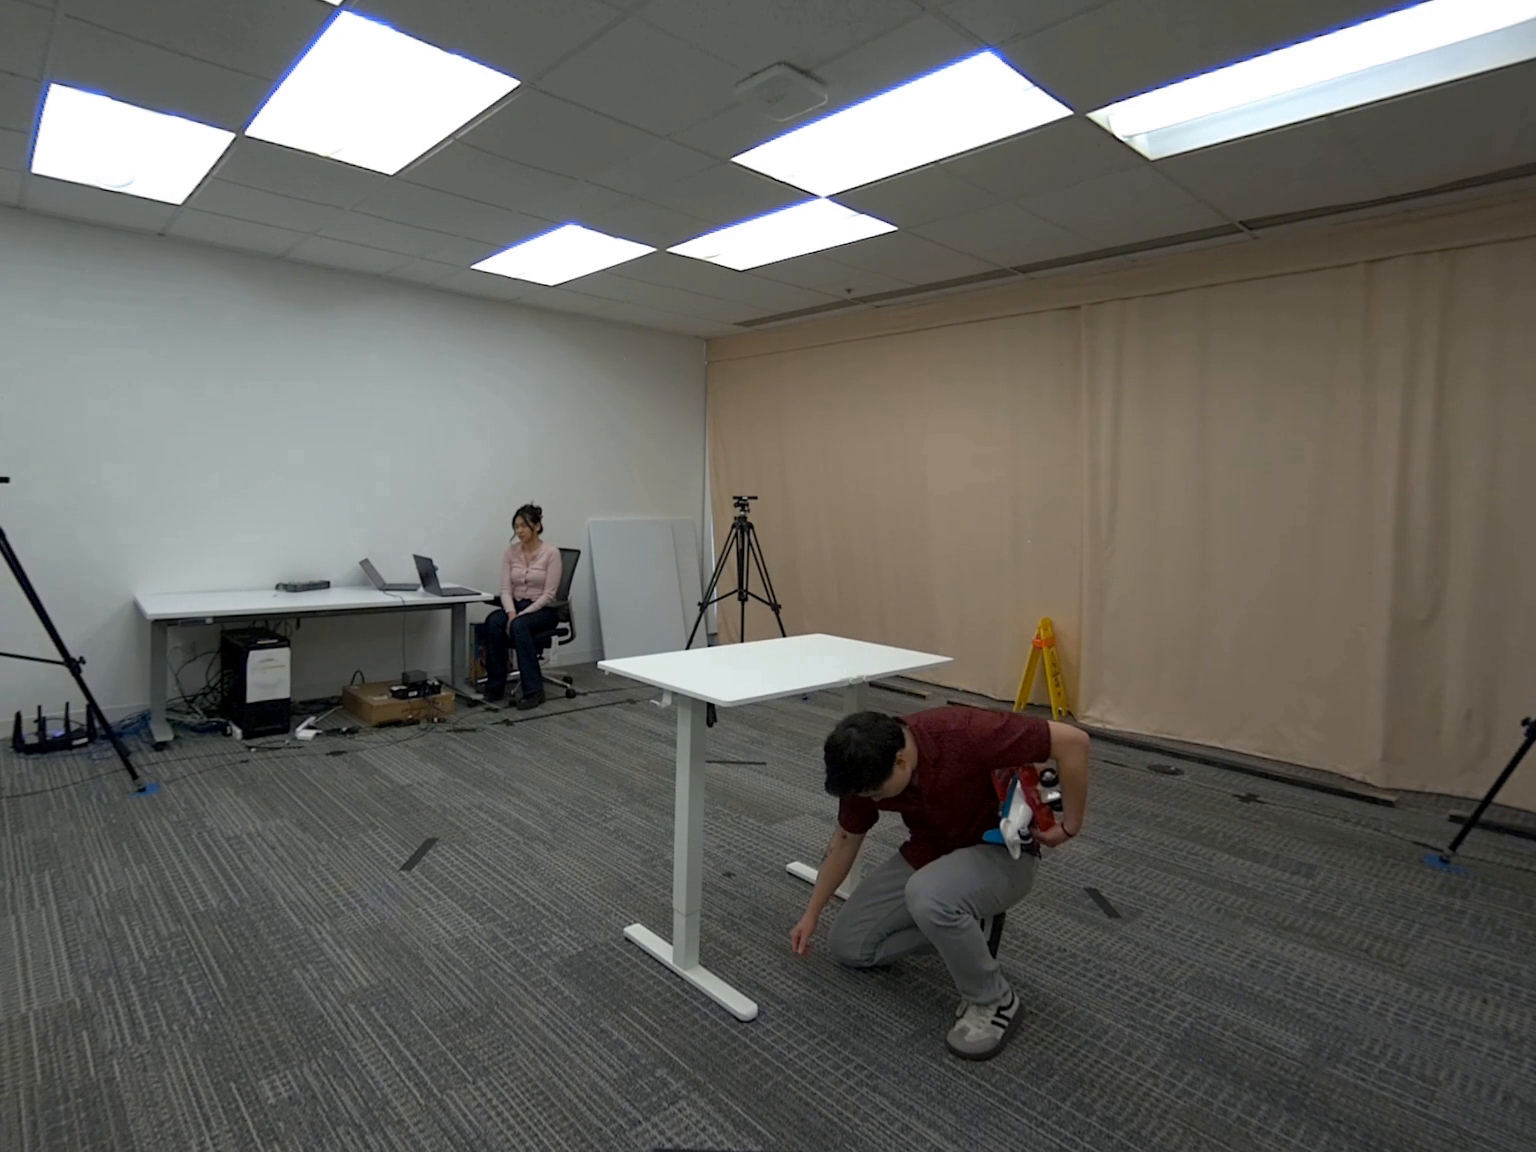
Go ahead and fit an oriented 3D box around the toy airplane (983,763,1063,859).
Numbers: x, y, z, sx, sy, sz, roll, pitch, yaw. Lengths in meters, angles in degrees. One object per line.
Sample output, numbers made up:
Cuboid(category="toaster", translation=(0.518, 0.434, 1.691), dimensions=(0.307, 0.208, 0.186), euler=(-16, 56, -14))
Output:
Cuboid(category="toy airplane", translation=(0.660, 0.601, 2.220), dimensions=(0.254, 0.251, 0.160), euler=(-8, 1, -42))
